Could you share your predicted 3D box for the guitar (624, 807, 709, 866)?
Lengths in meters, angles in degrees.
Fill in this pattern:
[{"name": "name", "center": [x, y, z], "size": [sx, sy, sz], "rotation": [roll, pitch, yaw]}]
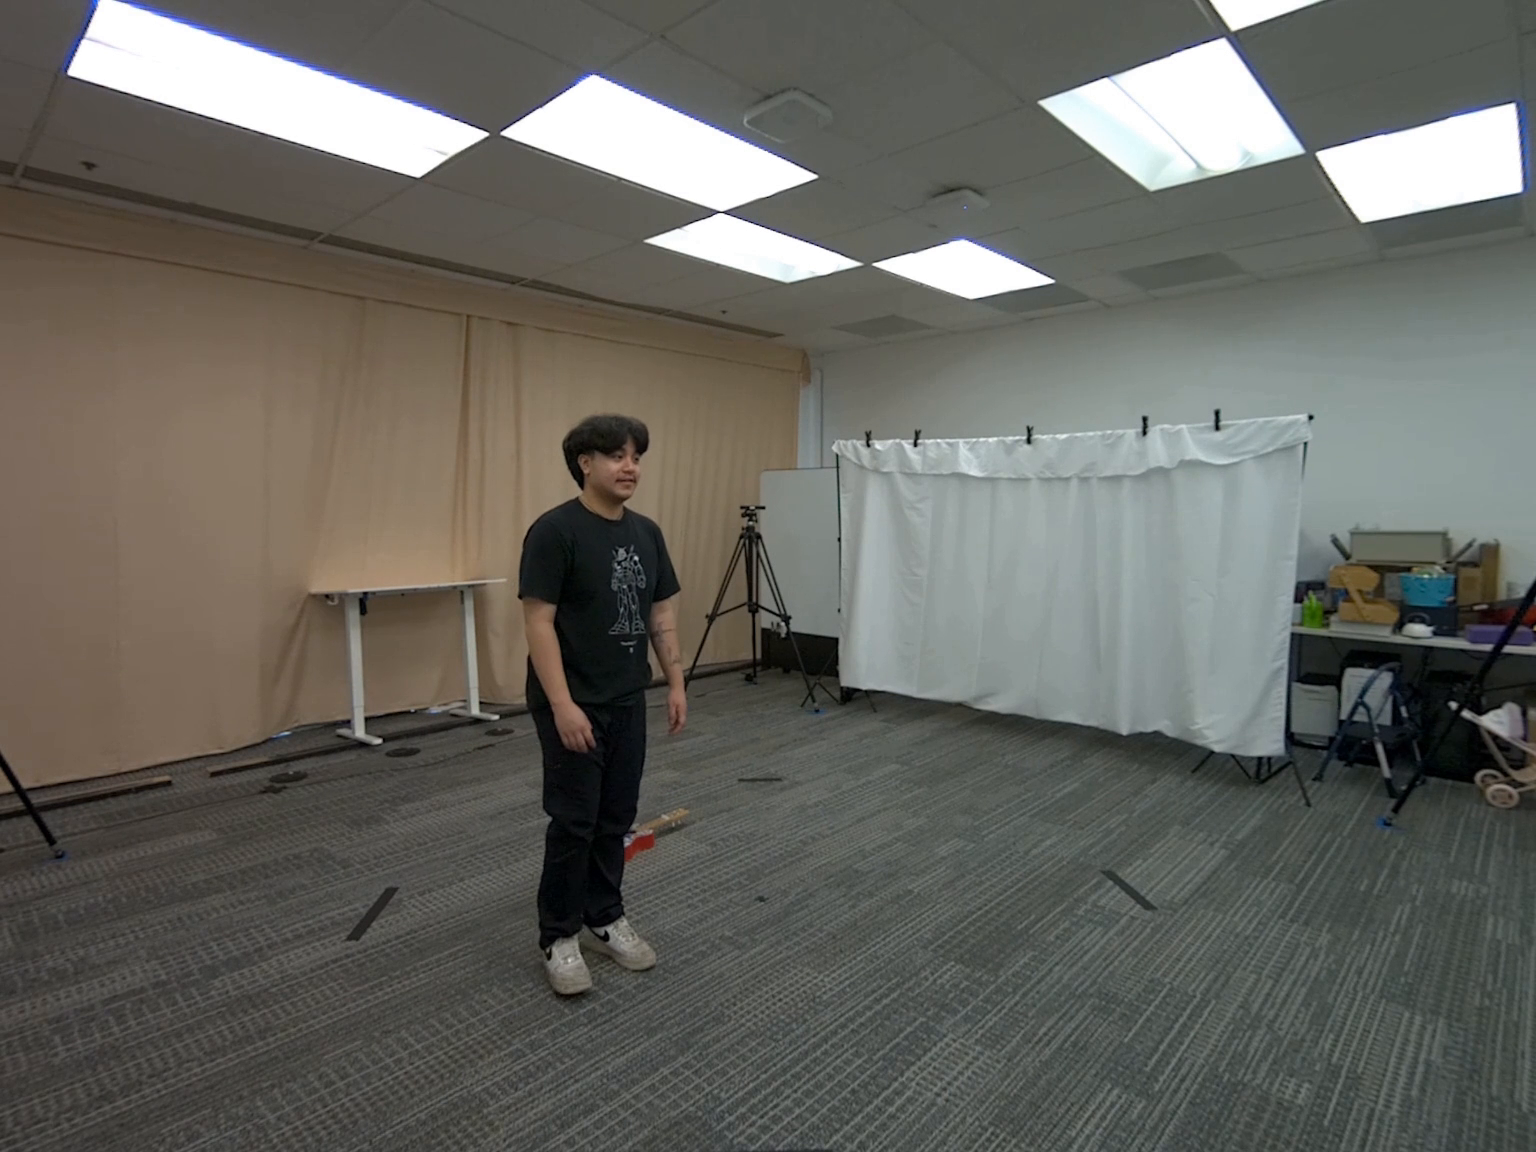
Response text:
[{"name": "guitar", "center": [-0.500, 1.072, 3.480], "size": [0.483, 0.070, 0.199], "rotation": [-6, 6, -40]}]
